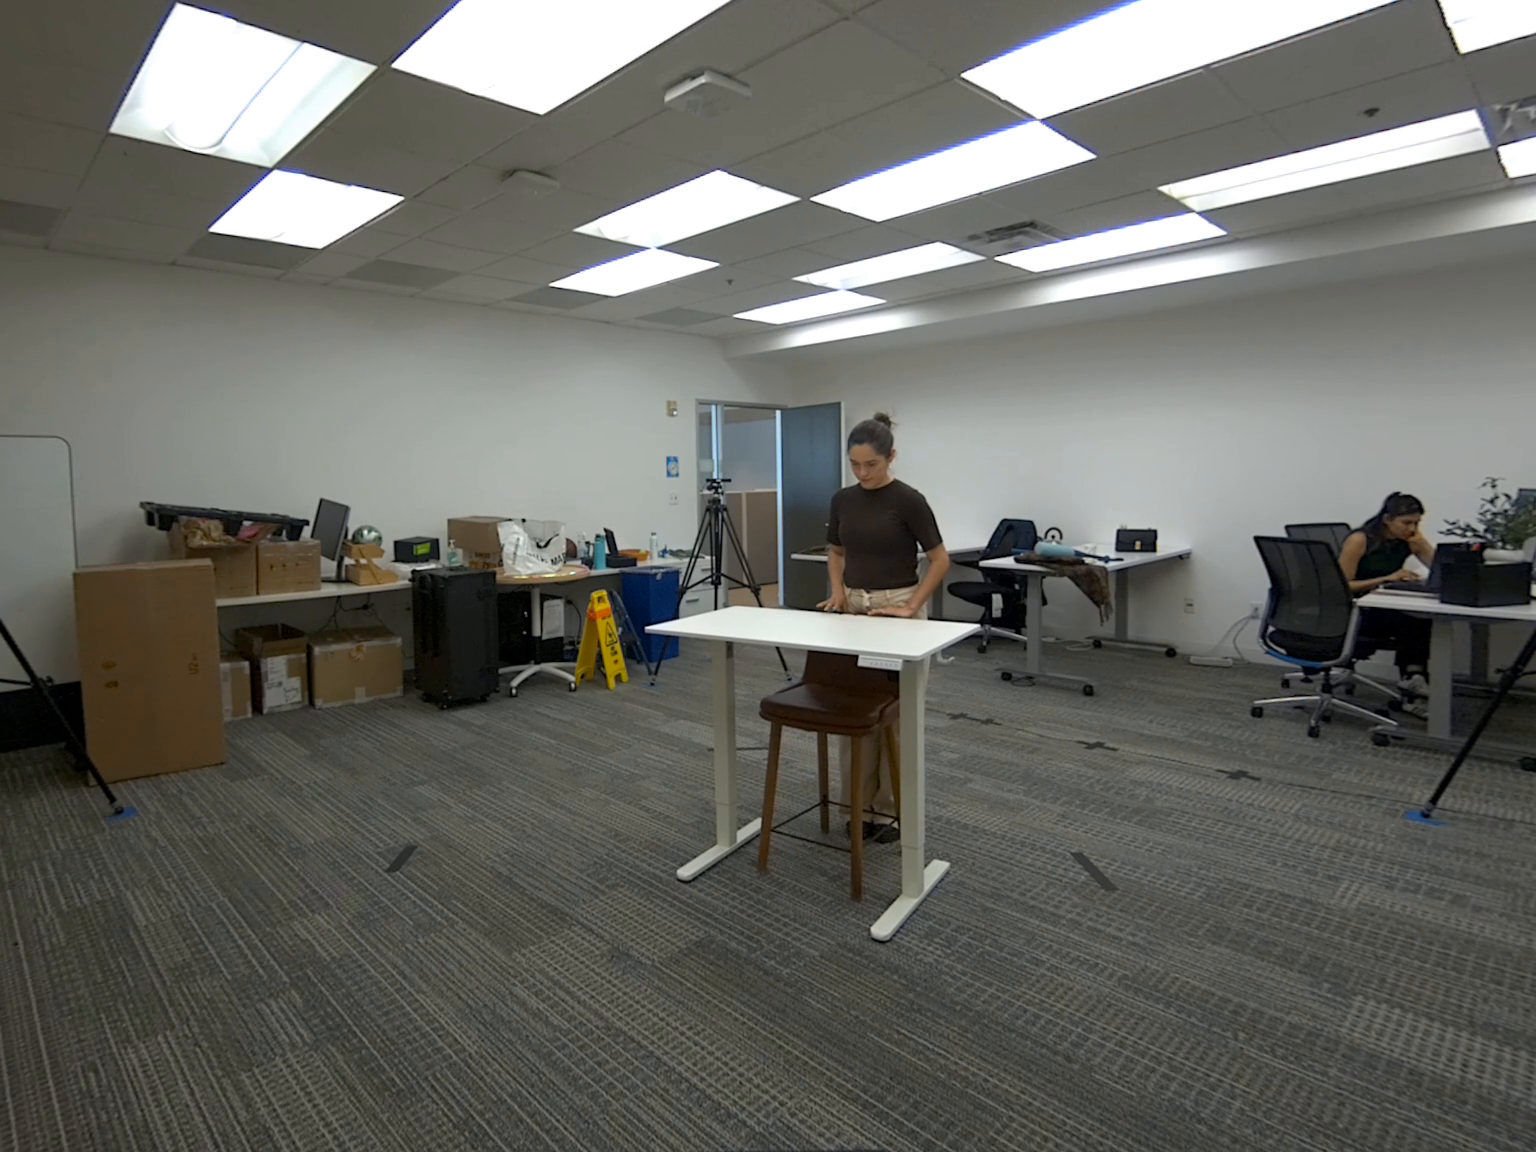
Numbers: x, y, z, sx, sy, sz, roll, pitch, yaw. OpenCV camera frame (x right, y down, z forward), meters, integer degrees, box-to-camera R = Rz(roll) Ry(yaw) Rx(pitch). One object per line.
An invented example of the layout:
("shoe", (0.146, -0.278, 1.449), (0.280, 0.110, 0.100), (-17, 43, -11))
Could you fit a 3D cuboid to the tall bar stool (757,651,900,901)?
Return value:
("tall bar stool", (0.251, 0.608, 3.082), (0.469, 0.888, 0.455), (1, 2, 35))
